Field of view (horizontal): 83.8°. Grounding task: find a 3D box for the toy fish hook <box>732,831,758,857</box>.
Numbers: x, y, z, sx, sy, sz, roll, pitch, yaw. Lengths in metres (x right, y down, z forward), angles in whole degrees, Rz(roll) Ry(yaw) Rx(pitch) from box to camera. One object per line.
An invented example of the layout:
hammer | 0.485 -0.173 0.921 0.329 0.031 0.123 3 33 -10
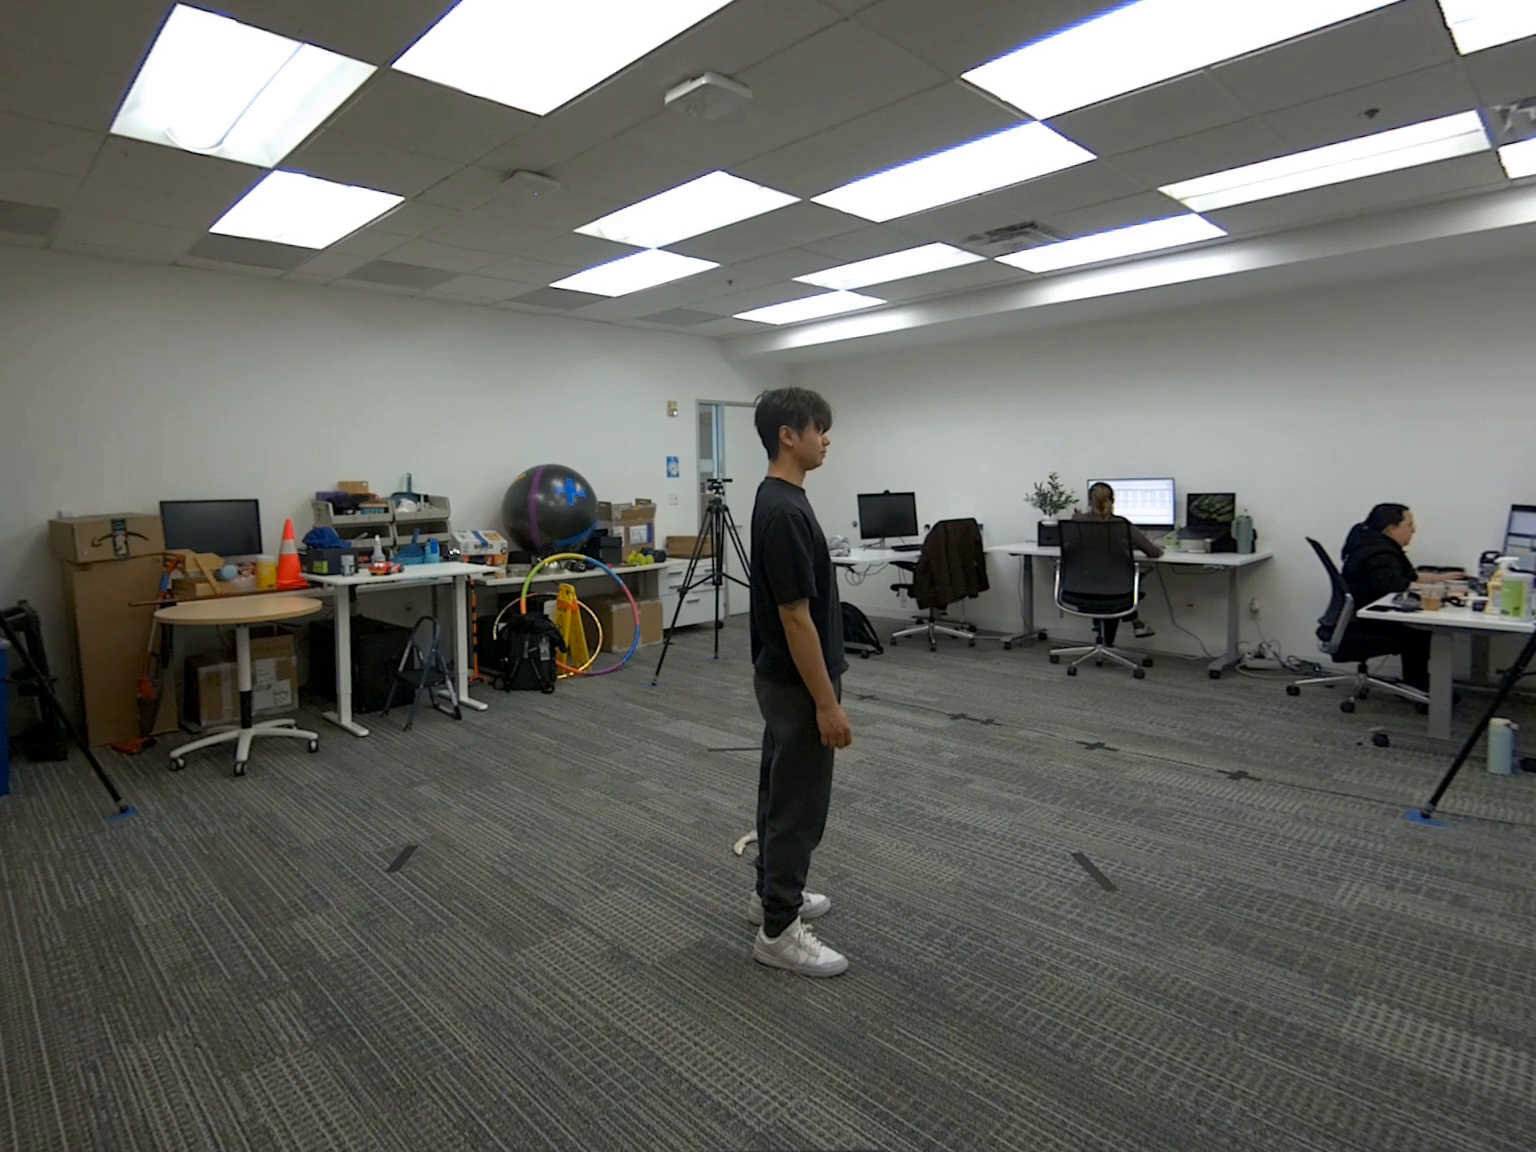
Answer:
toy fish hook | -0.017 1.033 3.094 0.226 0.048 0.504 -8 4 7
